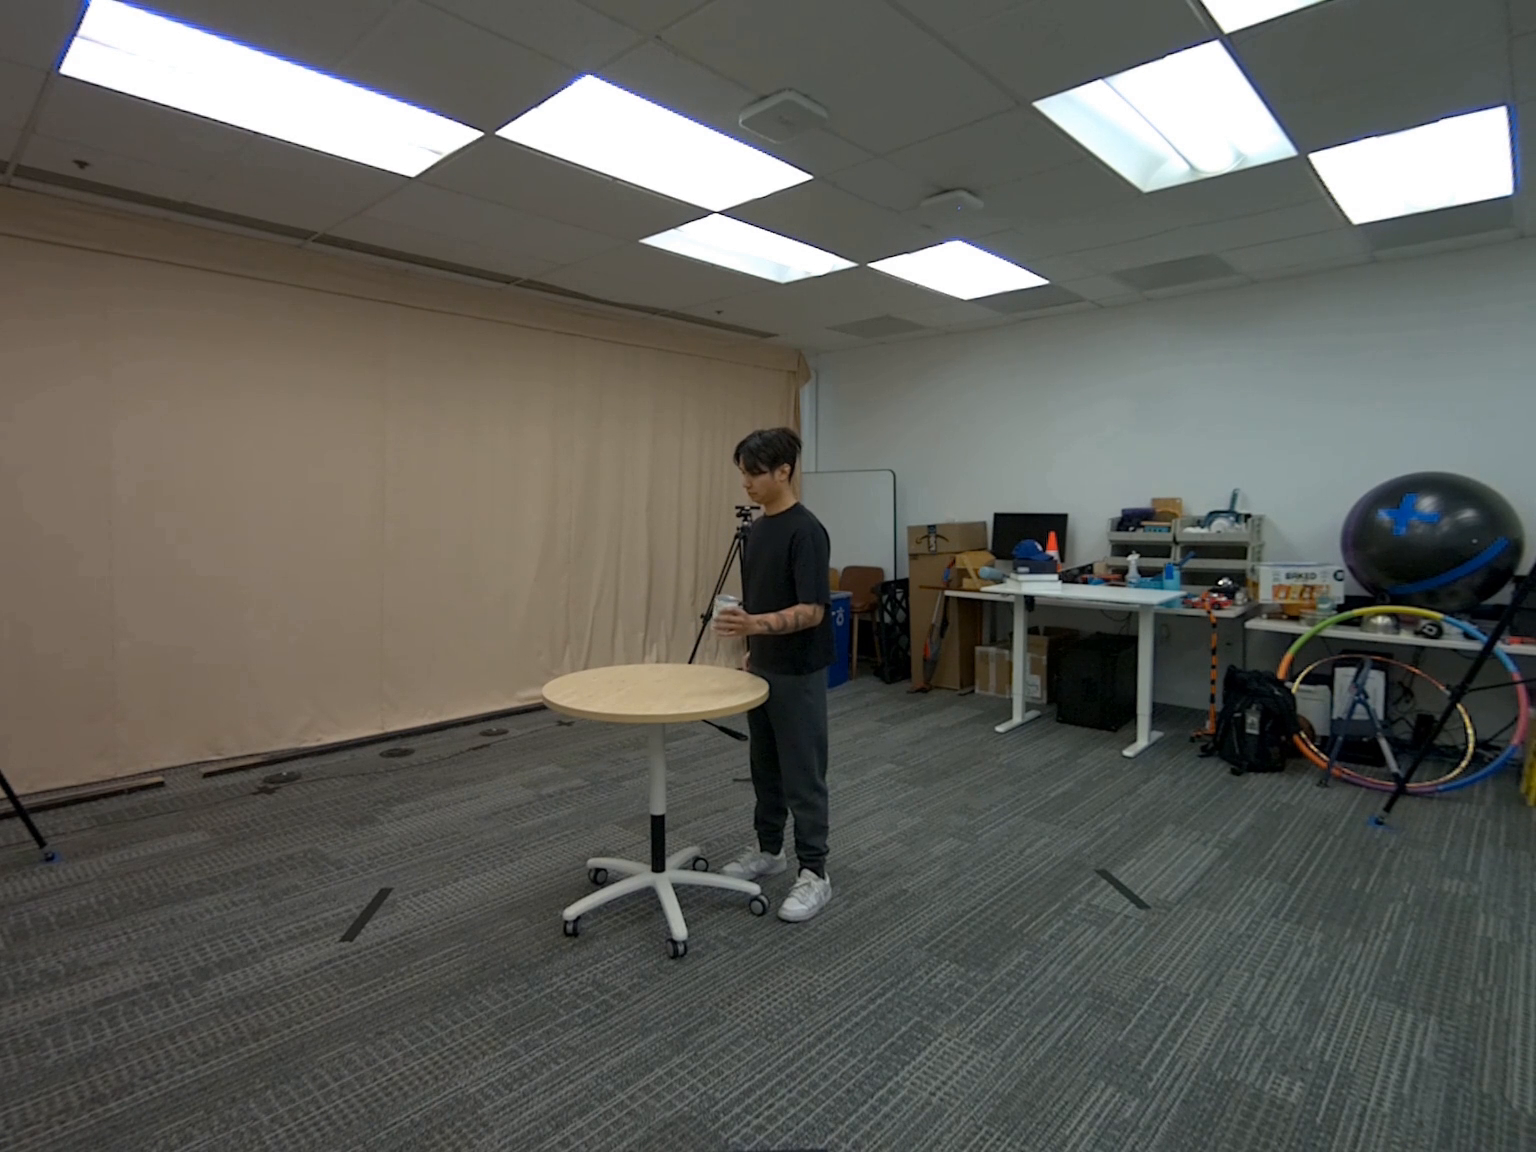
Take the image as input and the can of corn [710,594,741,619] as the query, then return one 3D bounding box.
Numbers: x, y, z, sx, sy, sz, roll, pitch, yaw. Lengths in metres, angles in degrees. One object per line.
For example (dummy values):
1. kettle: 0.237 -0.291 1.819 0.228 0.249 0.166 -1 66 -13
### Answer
1. can of corn: -0.127 0.120 2.620 0.074 0.110 0.075 5 10 -3
